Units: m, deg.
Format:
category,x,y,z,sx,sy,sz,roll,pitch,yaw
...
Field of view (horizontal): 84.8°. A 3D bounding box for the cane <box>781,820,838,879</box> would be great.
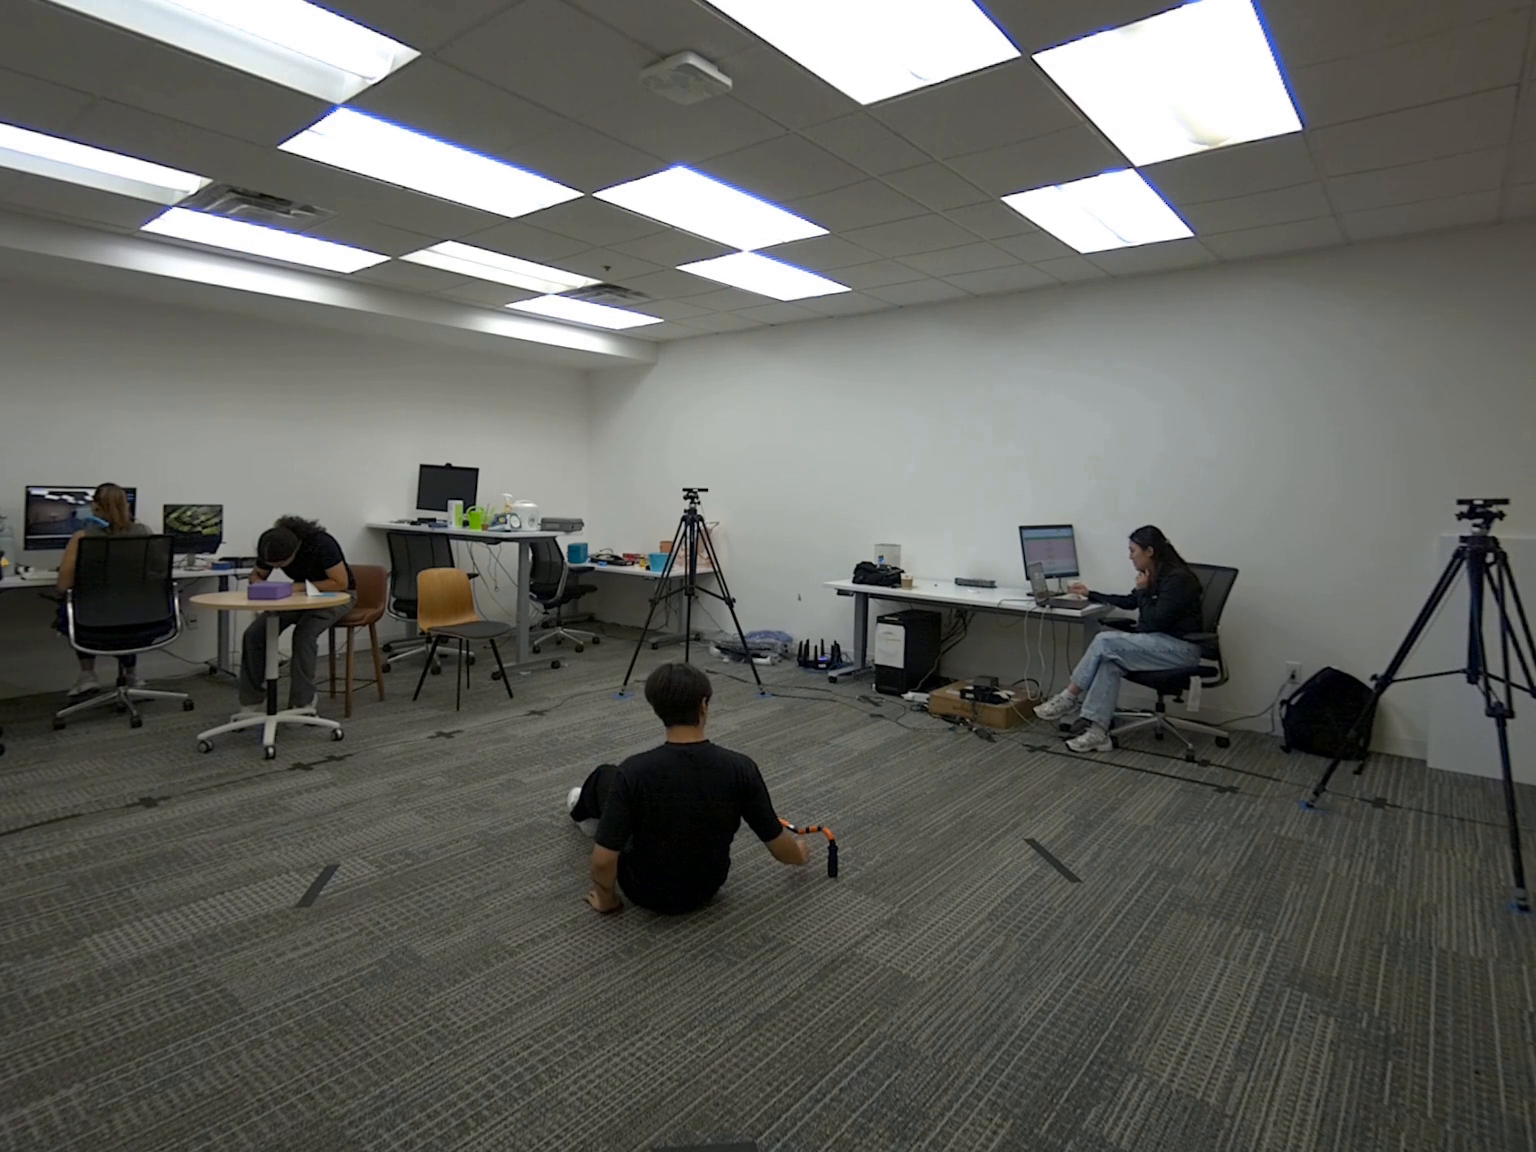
category,x,y,z,sx,sy,sz,roll,pitch,yaw
cane,-0.030,0.927,3.441,0.147,0.206,0.938,1,5,-36
